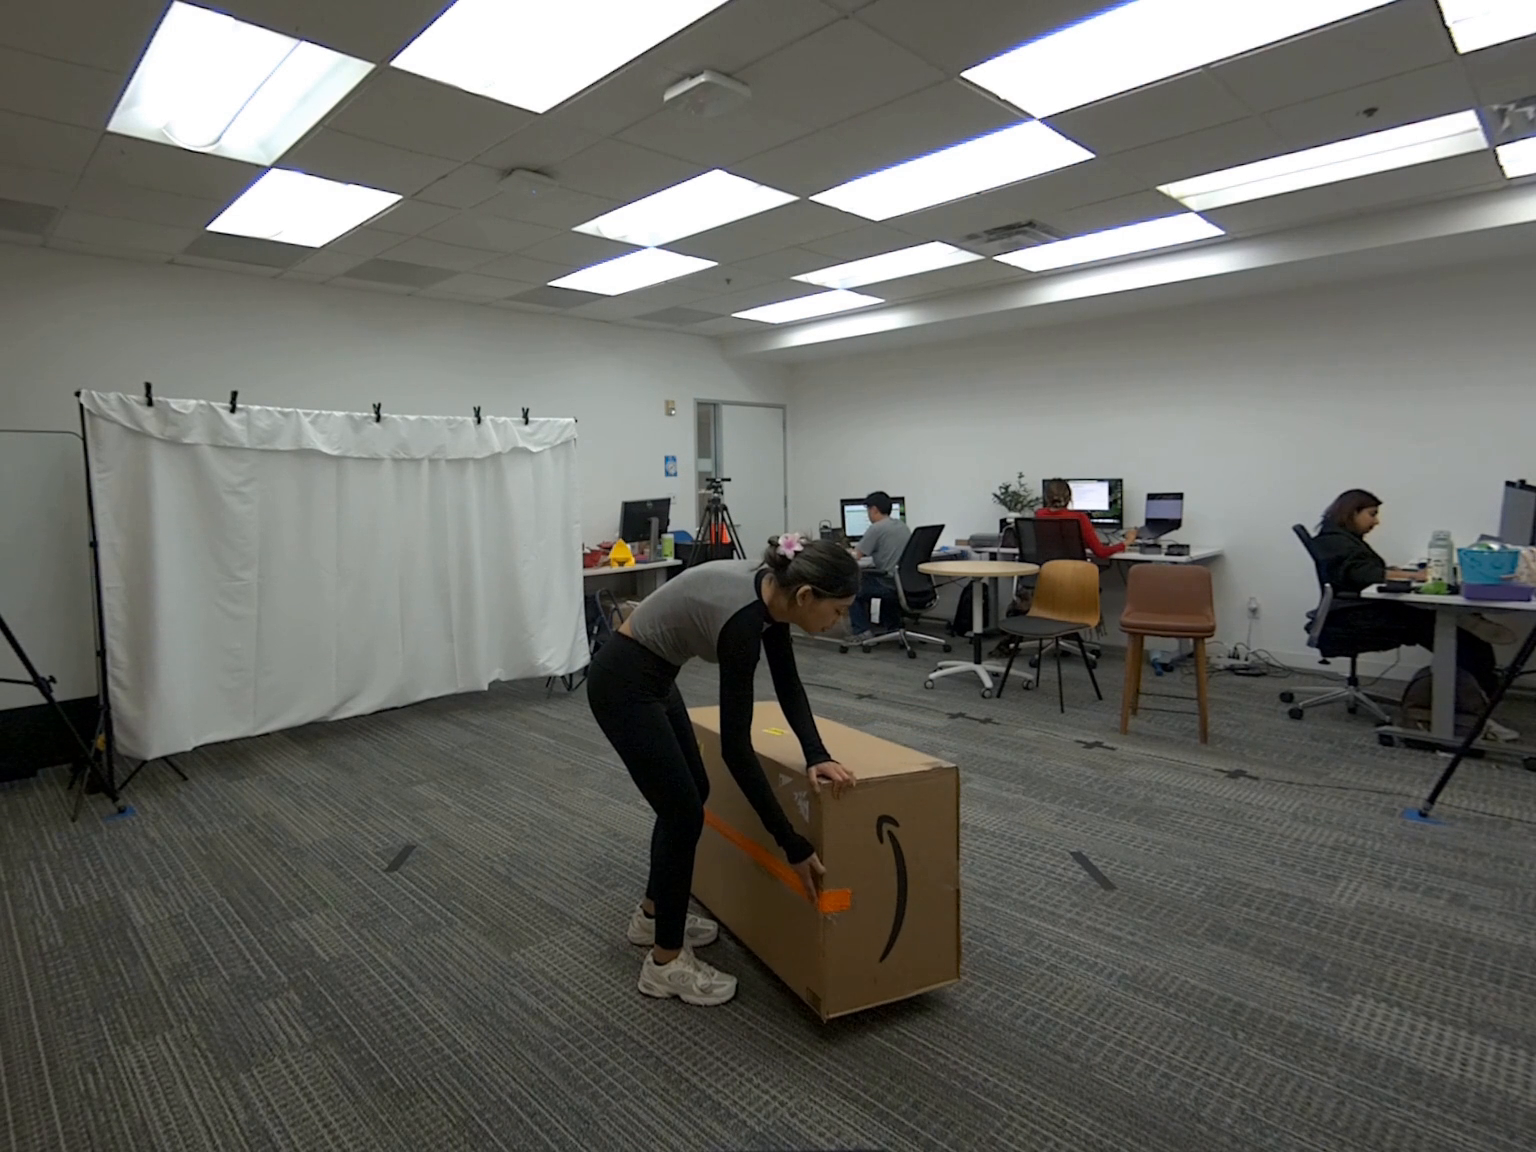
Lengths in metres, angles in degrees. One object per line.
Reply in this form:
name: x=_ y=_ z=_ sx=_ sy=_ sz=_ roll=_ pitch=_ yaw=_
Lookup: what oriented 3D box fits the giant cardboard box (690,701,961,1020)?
giant cardboard box: x=0.085 y=0.774 z=2.636 sx=0.437 sy=0.583 sz=1.051 roll=-2 pitch=2 yaw=-28
